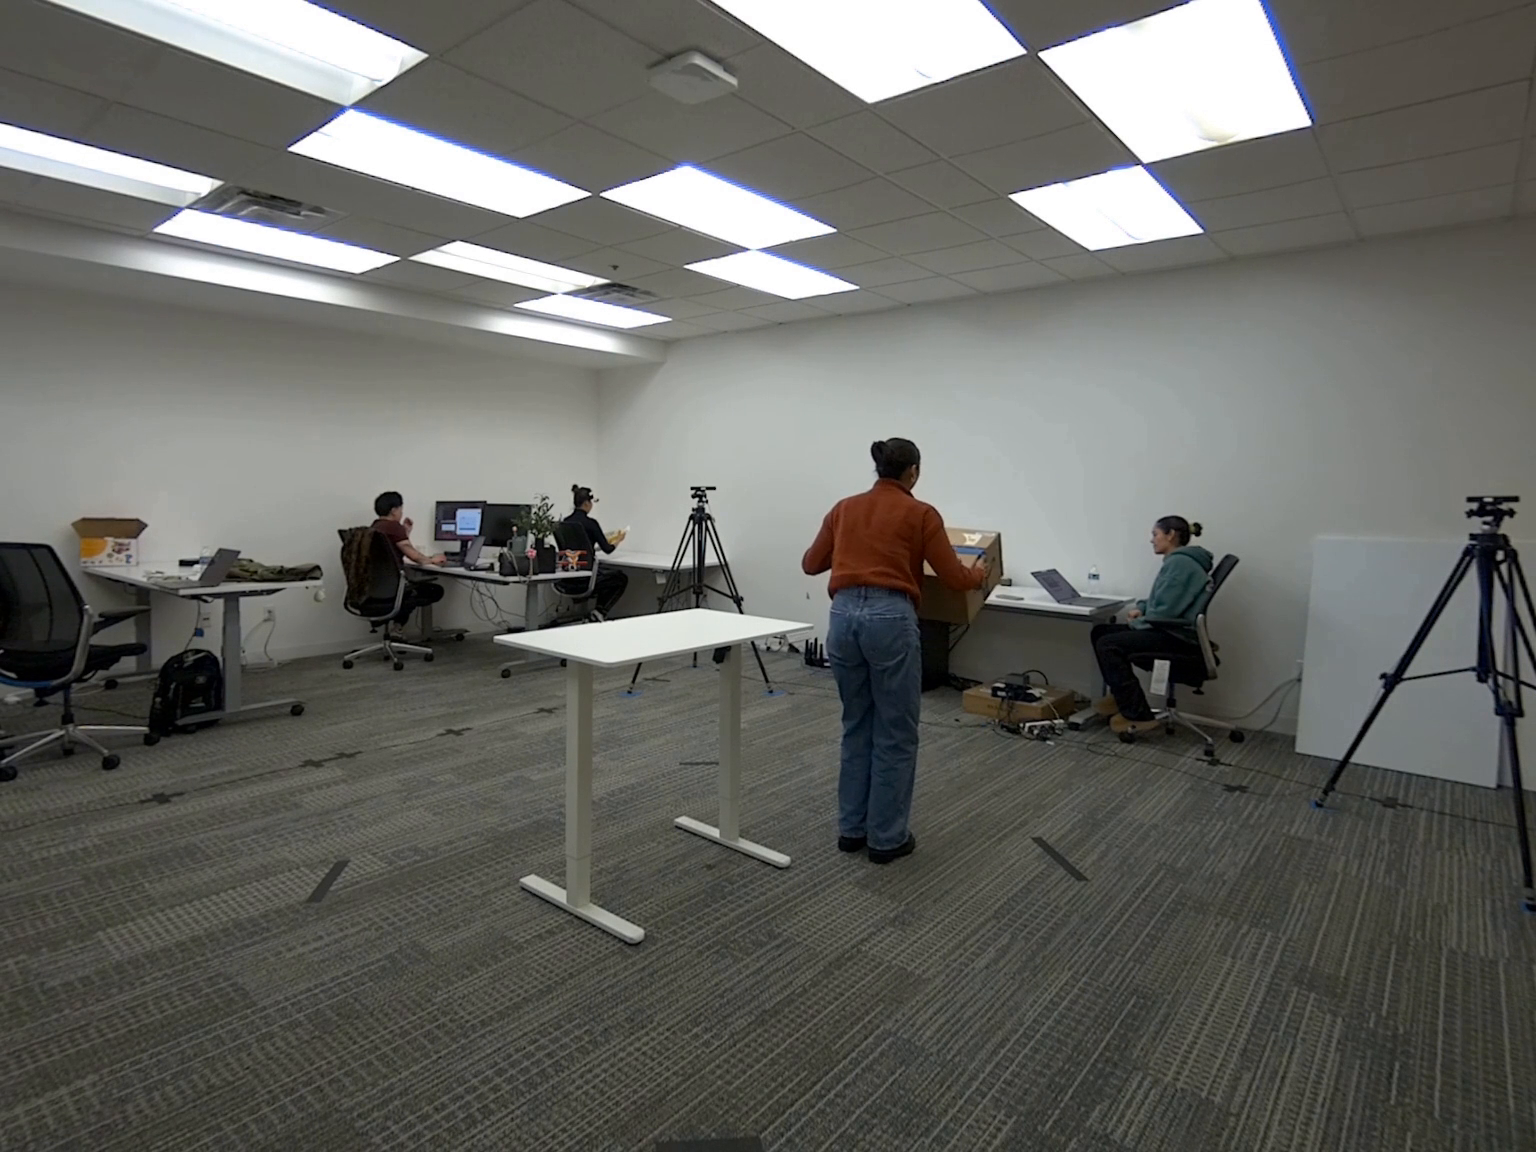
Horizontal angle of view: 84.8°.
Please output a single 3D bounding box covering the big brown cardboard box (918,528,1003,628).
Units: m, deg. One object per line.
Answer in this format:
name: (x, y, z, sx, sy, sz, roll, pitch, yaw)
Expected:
big brown cardboard box: (0.648, -0.030, 3.643, 0.608, 0.227, 0.415, 7, 31, 34)
